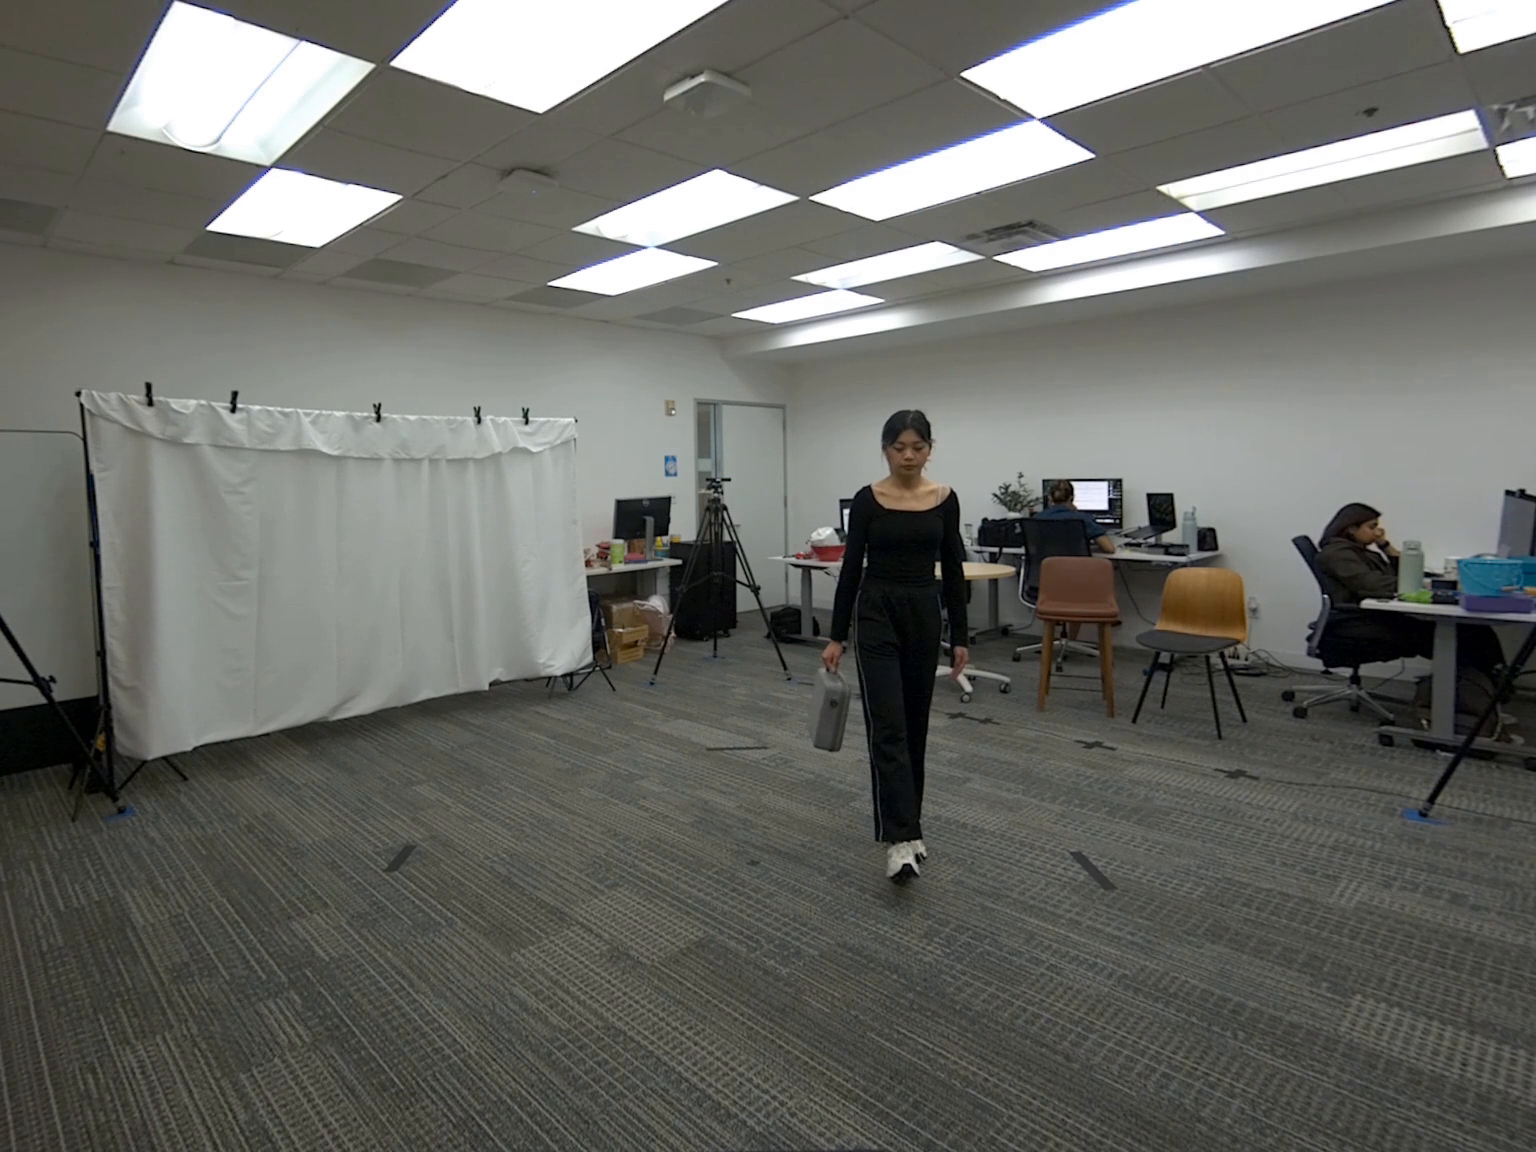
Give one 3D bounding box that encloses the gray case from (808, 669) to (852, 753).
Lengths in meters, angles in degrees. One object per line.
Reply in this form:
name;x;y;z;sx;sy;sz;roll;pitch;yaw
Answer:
gray case;0.233;0.490;3.179;0.104;0.259;0.258;5;6;-1
